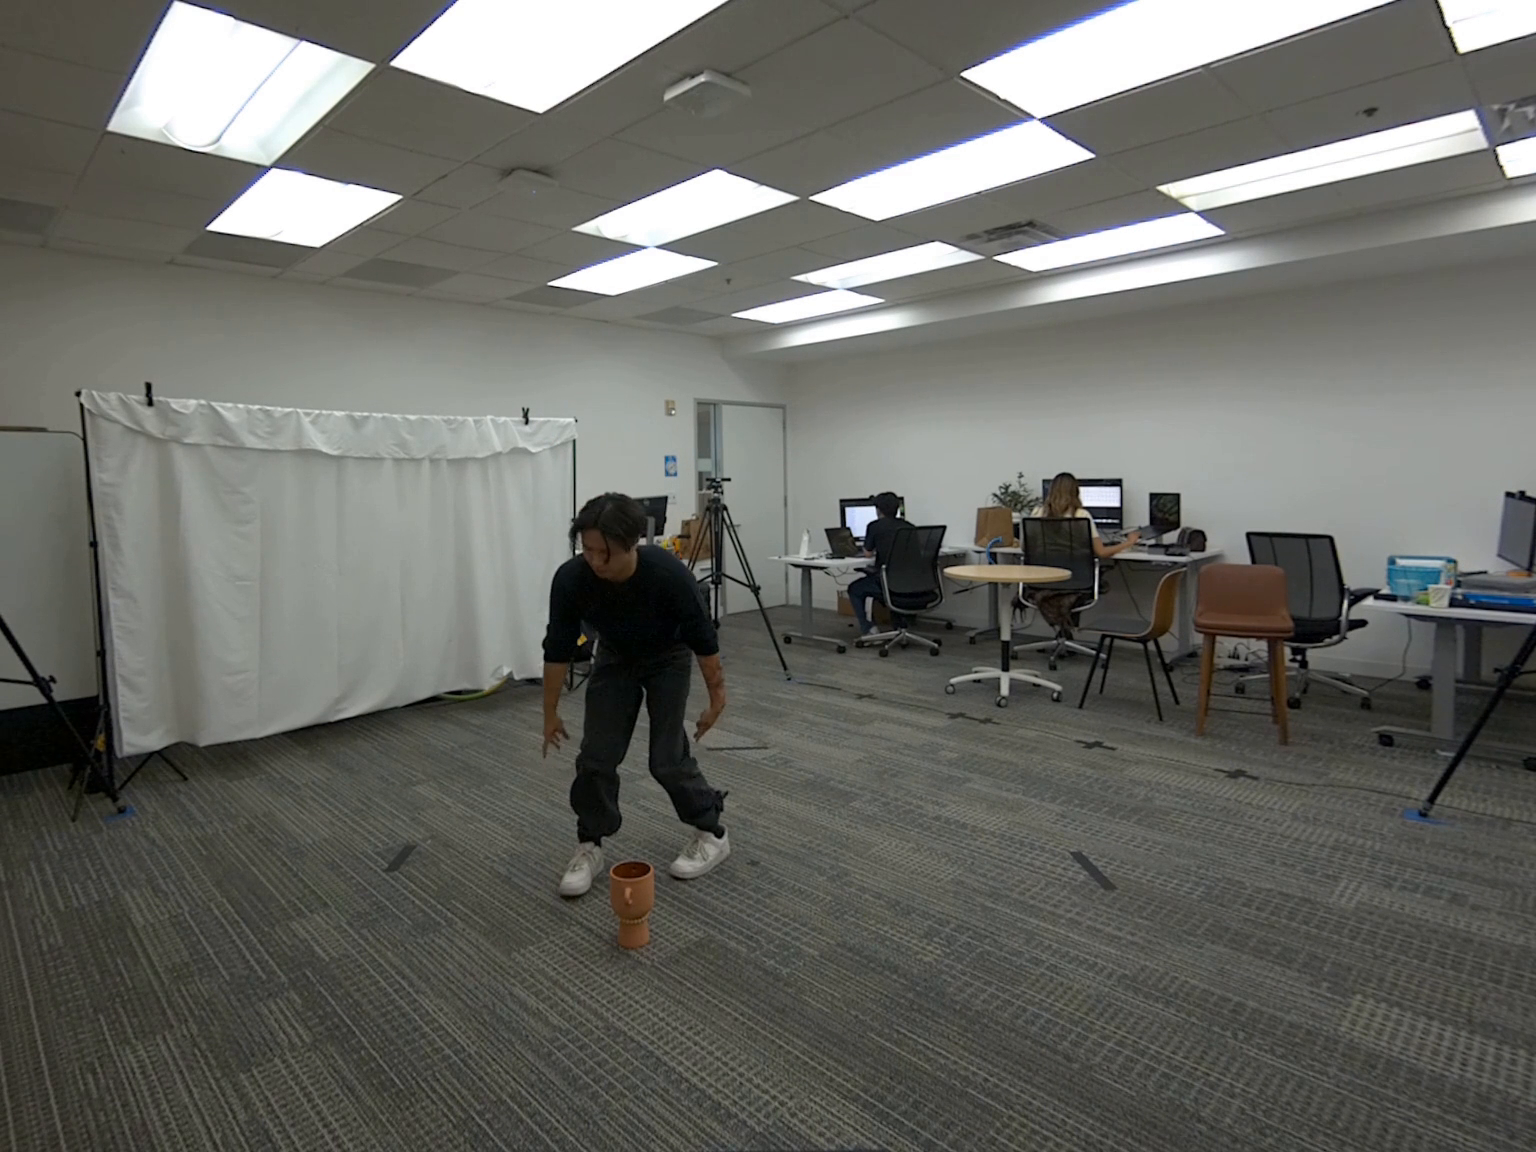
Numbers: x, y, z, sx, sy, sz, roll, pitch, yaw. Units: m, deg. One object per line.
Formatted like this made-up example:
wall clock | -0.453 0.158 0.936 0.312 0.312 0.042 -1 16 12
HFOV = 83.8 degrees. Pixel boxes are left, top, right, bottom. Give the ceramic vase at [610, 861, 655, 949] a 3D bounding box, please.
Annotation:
ceramic vase | -0.408 1.002 2.588 0.139 0.218 0.155 4 8 41
